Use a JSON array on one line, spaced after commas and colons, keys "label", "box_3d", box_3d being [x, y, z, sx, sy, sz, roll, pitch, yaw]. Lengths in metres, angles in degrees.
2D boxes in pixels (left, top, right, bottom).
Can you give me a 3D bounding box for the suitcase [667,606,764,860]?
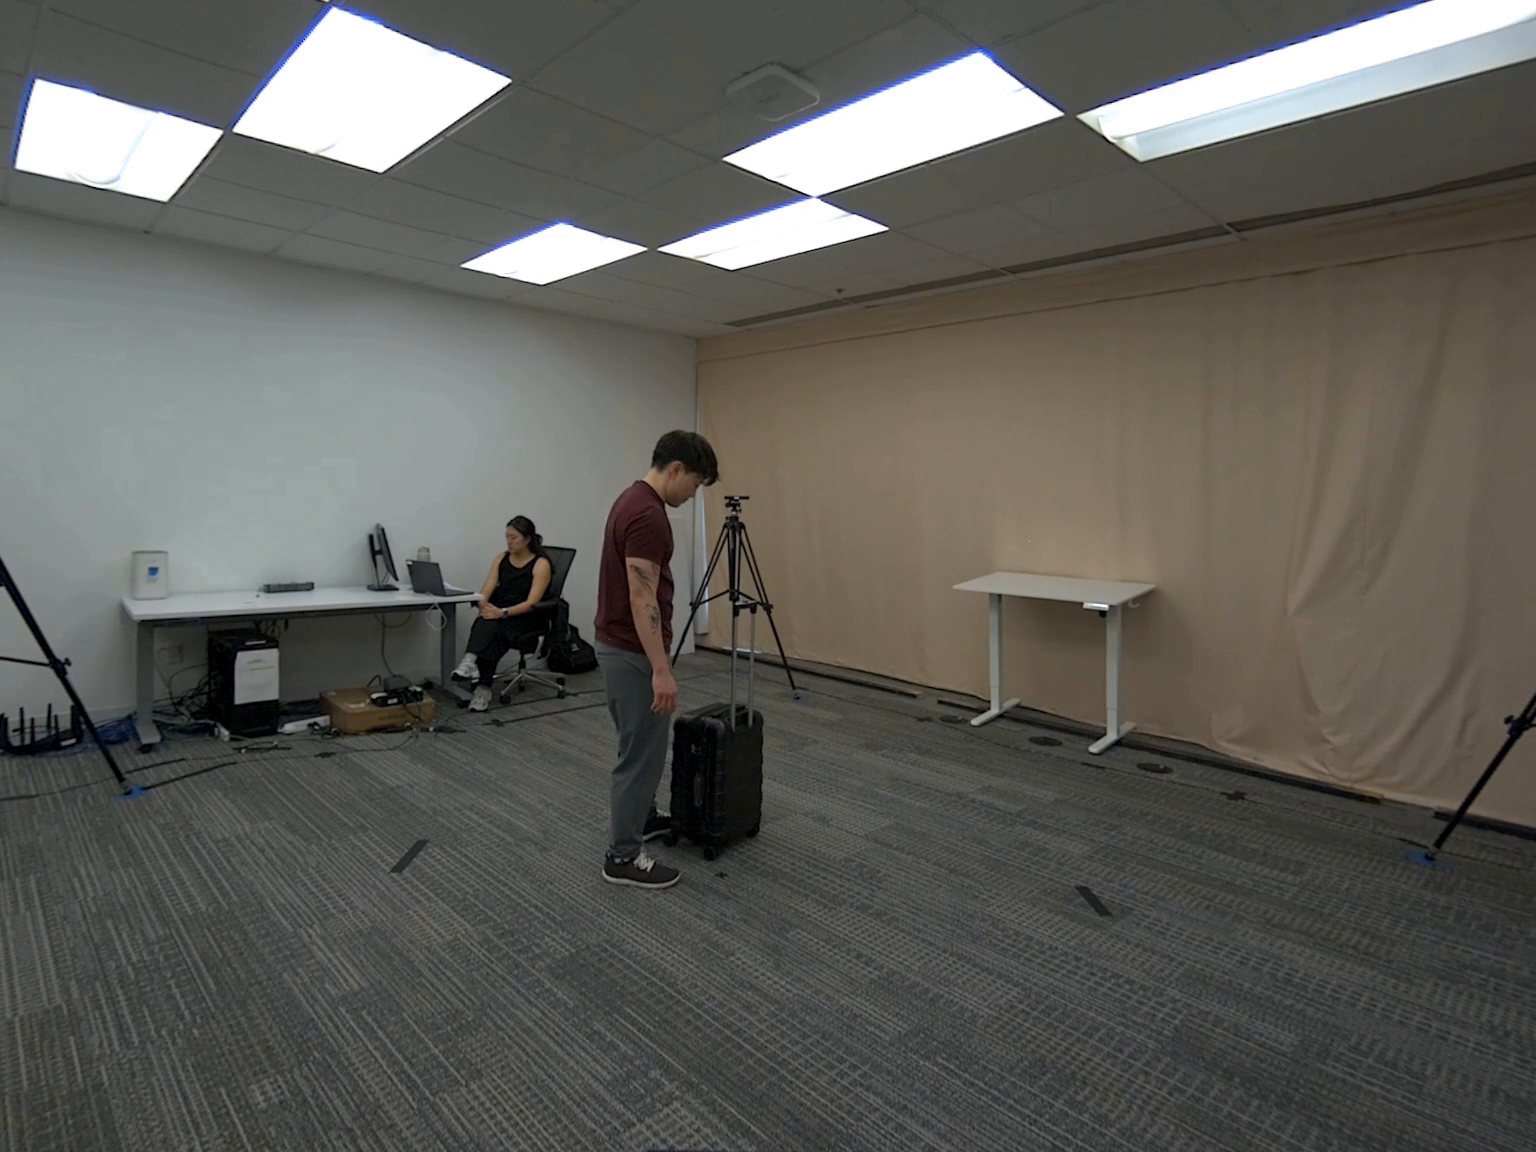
[{"label": "suitcase", "box_3d": [-0.206, 0.598, 3.388, 0.263, 0.977, 0.376, 3, 3, 33]}]
